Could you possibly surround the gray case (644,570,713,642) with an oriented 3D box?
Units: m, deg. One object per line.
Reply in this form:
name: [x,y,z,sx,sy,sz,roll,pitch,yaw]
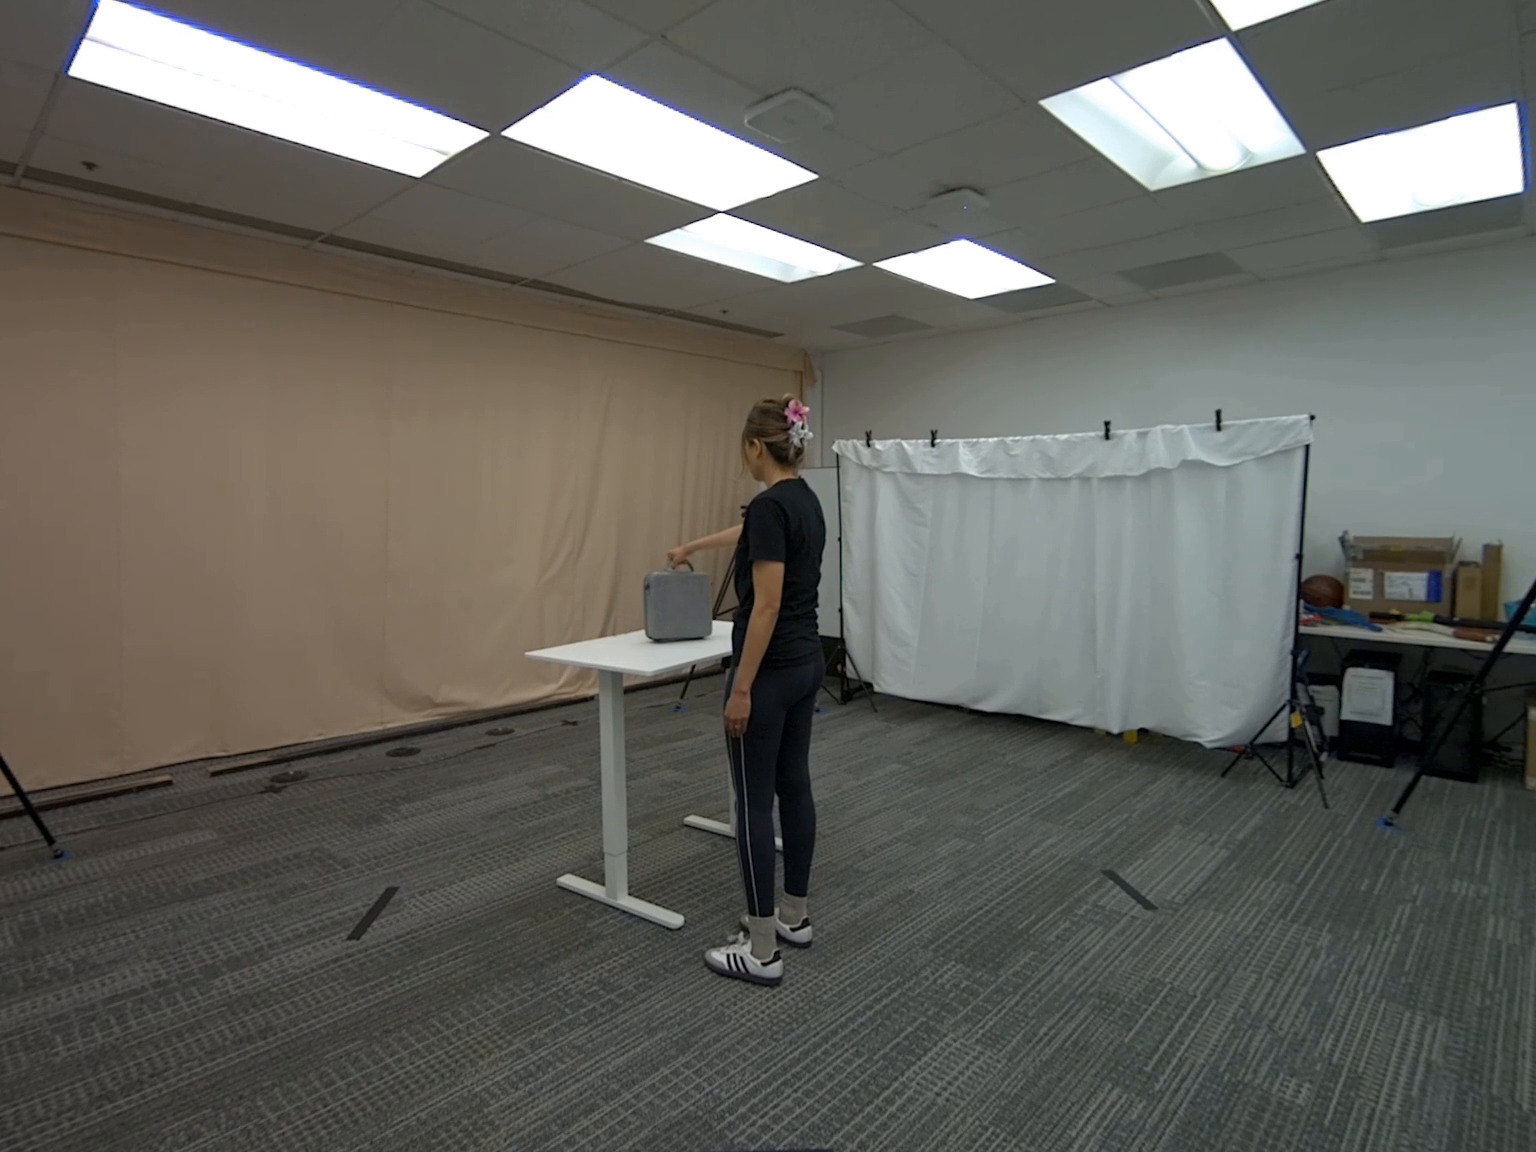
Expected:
gray case: [-0.338,0.108,3.203,0.251,0.261,0.106,-2,-3,-24]
